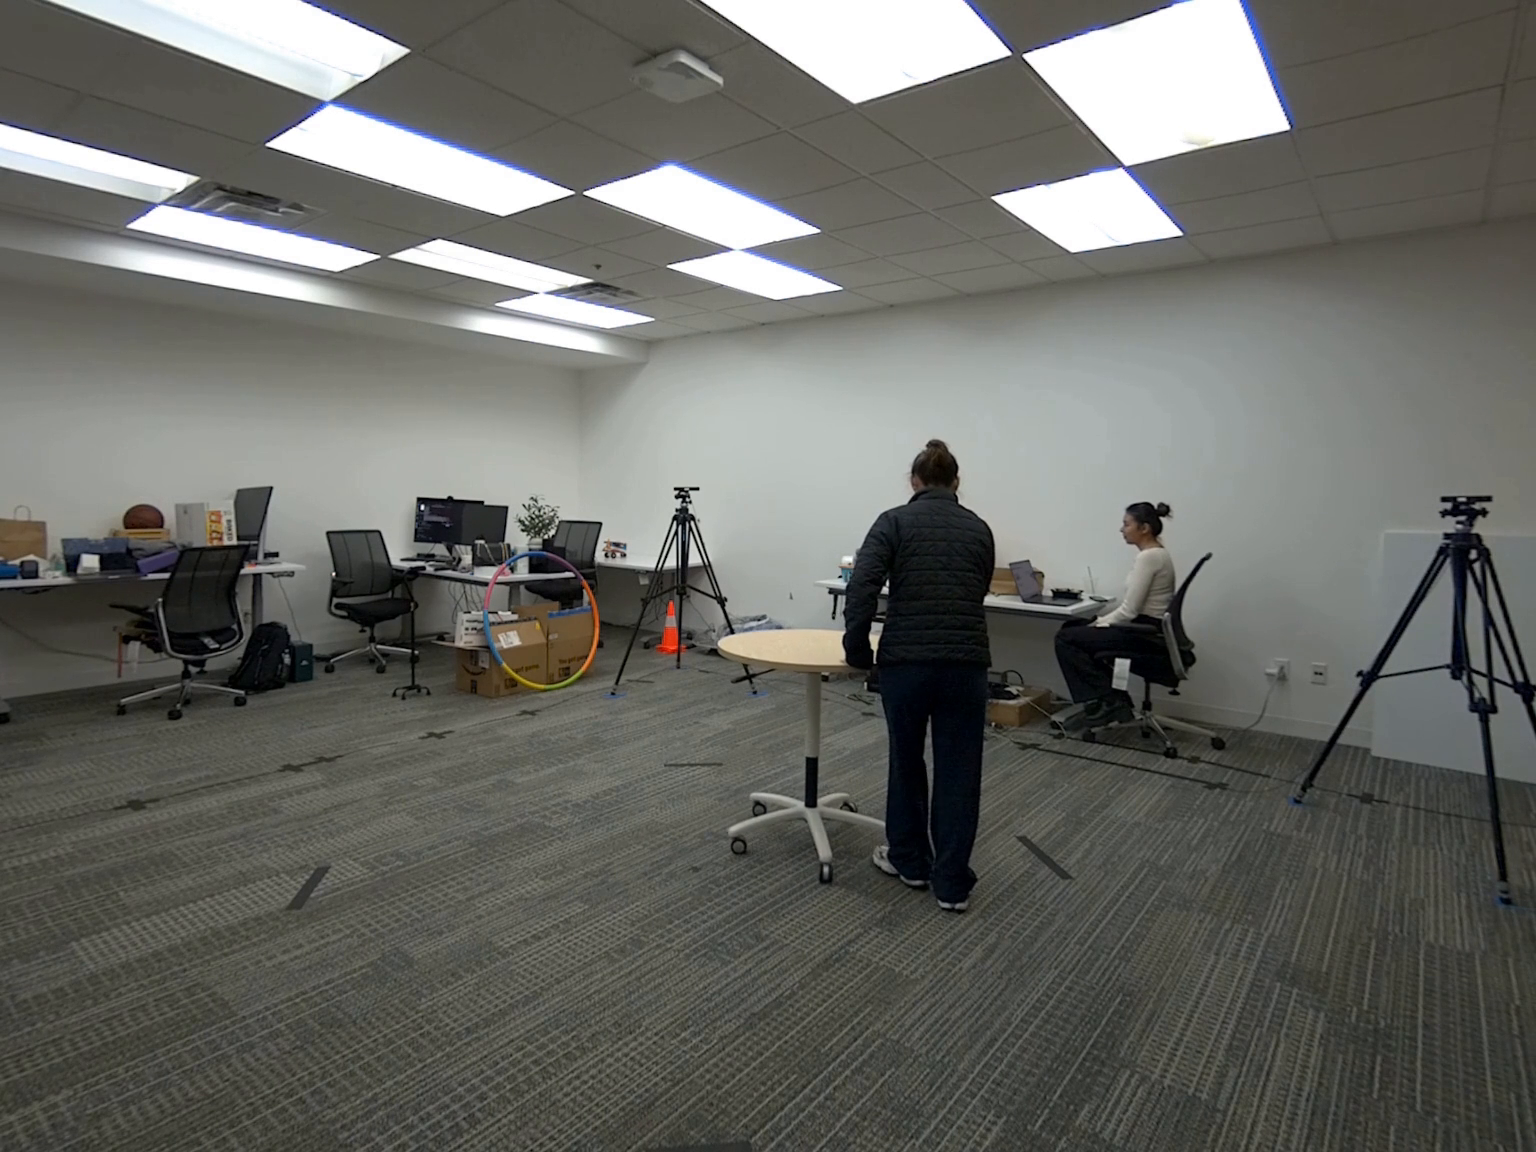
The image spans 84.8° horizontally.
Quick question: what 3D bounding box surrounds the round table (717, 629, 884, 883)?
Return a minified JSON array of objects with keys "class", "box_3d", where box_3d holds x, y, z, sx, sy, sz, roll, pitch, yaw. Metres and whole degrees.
[{"class":"round table","box_3d":[0.200,0.655,3.358,0.784,0.784,0.789,1,4,-2]}]
